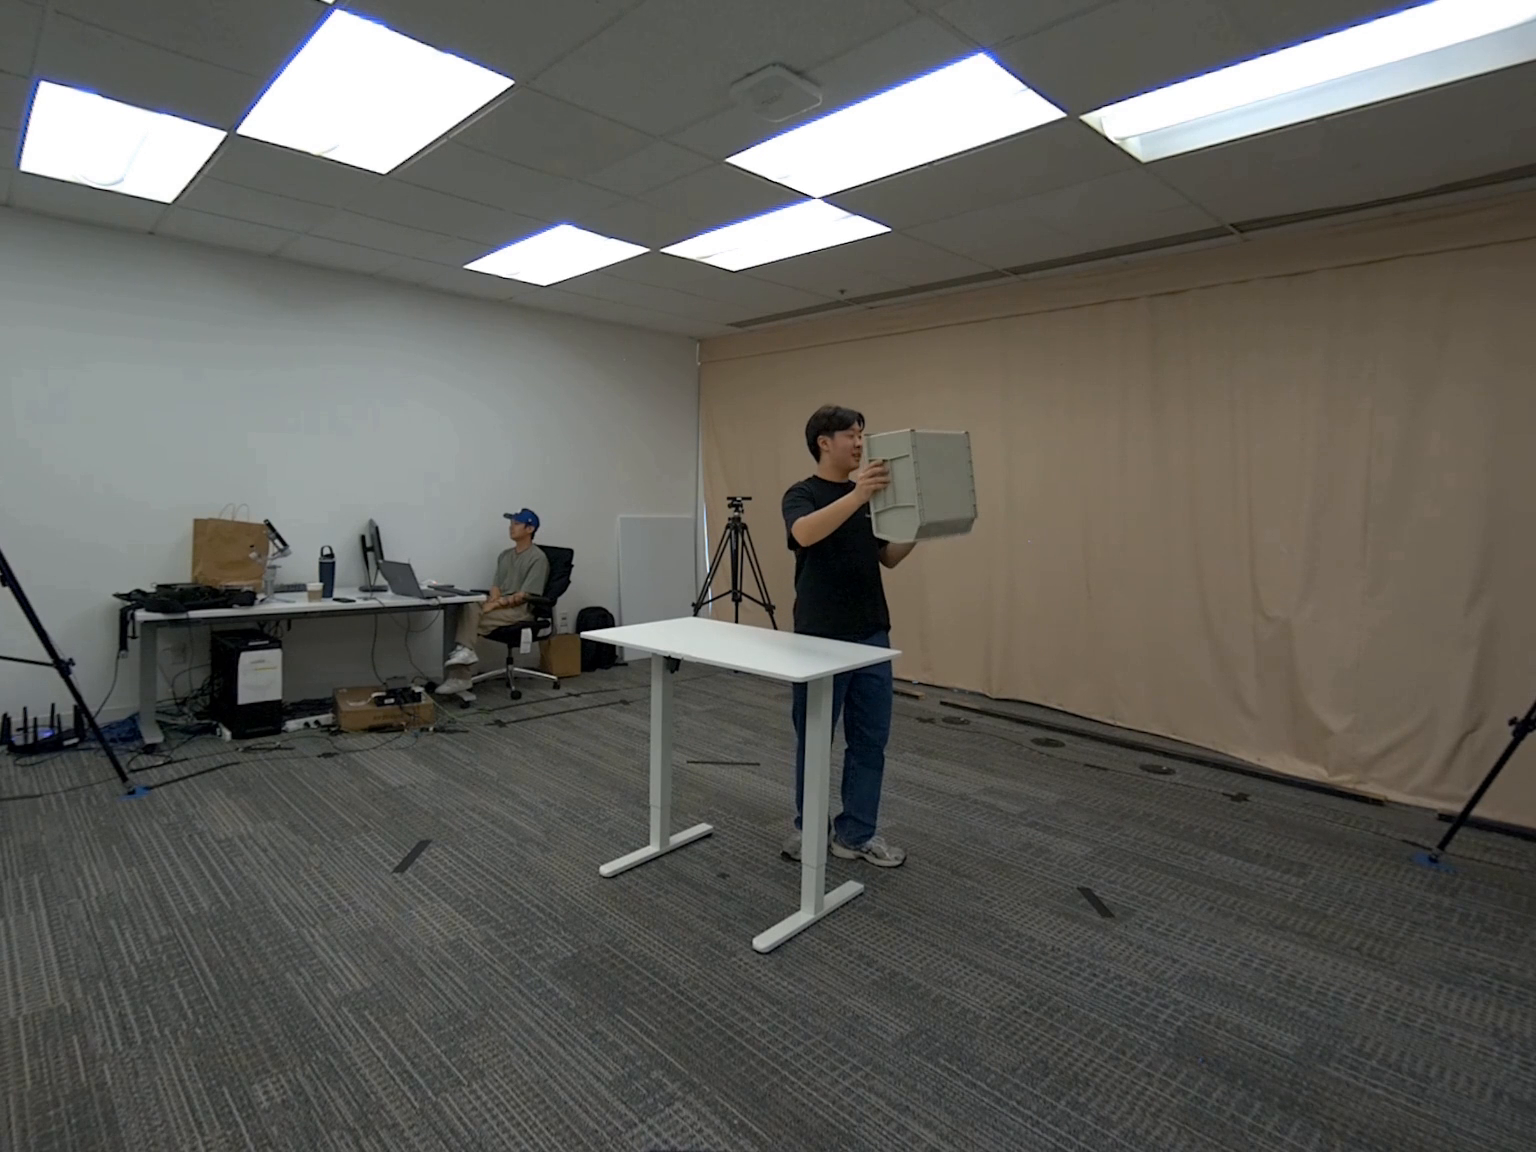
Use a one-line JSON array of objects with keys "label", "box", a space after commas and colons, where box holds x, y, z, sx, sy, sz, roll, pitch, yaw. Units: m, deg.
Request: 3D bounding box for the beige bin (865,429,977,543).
[{"label": "beige bin", "box": [0.530, -0.312, 2.911, 0.193, 0.377, 0.413, -4, 2, 42]}]
